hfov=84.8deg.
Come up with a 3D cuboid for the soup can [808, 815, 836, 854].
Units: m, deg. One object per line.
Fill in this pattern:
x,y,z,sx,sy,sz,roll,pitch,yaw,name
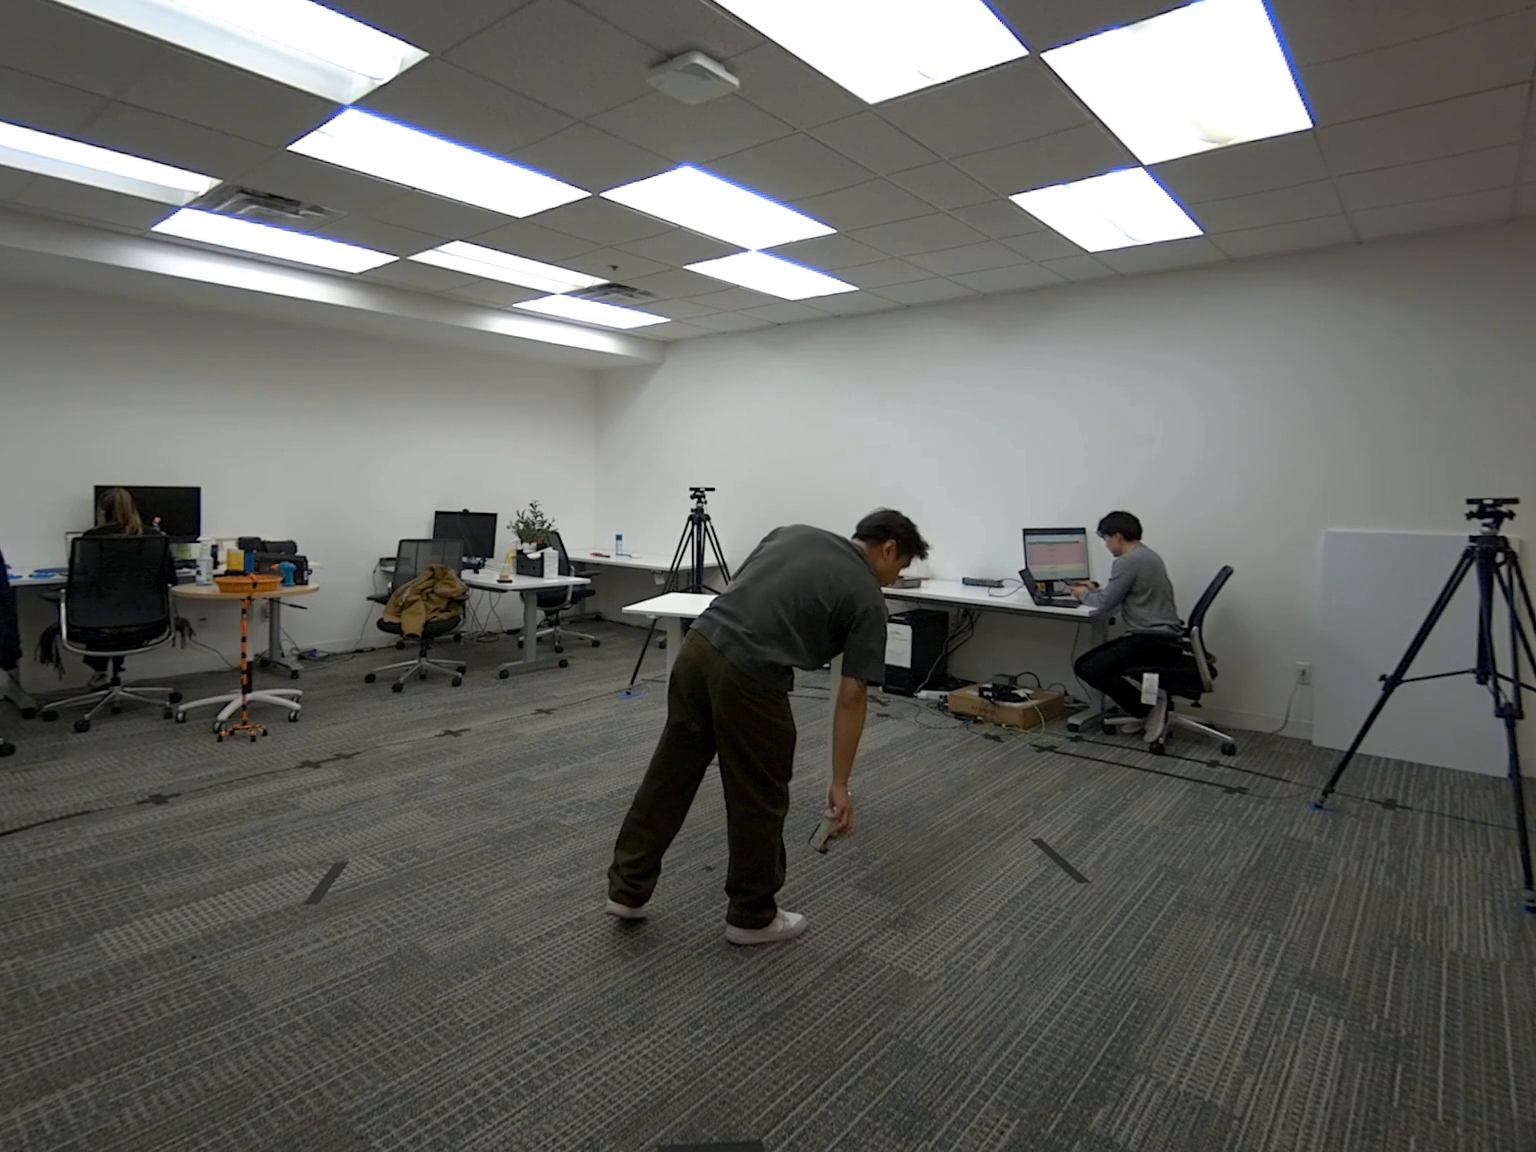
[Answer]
0.170,0.762,2.517,0.067,0.121,0.068,32,6,-6,soup can
